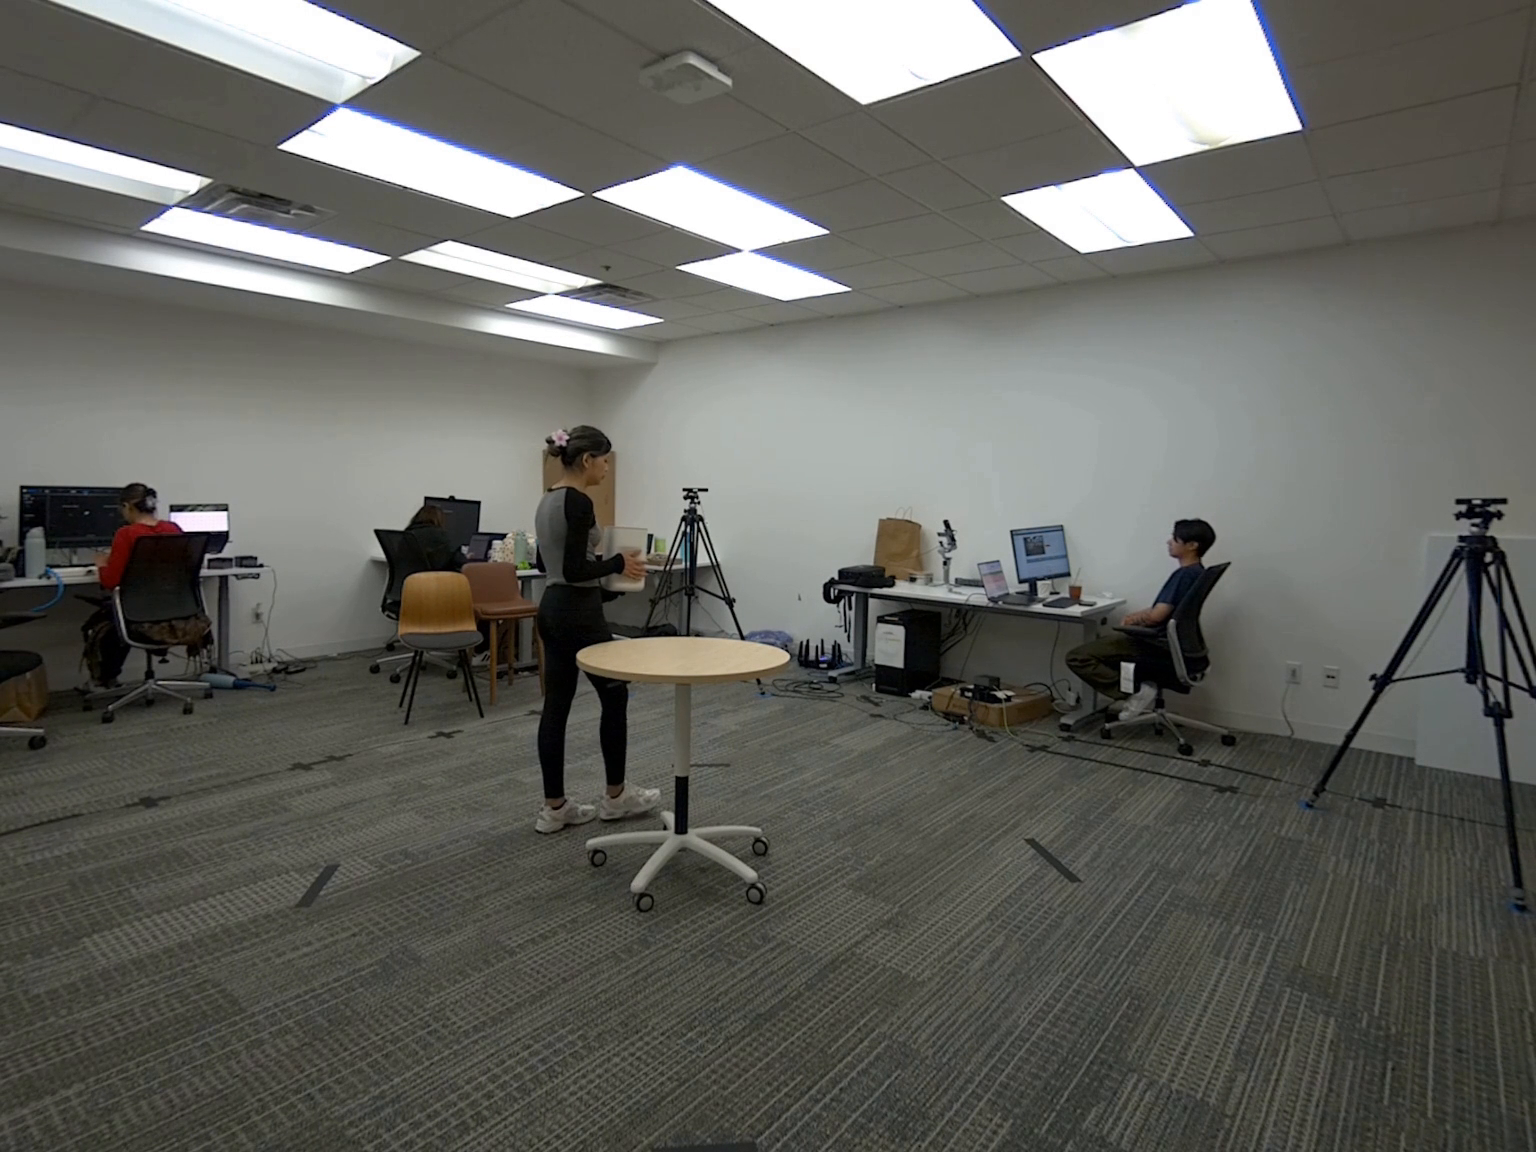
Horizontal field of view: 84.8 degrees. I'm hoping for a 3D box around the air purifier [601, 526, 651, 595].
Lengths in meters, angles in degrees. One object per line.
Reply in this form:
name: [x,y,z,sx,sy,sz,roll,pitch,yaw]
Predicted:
air purifier: [-0.610,-0.069,3.553,0.168,0.265,0.175,3,3,-19]
